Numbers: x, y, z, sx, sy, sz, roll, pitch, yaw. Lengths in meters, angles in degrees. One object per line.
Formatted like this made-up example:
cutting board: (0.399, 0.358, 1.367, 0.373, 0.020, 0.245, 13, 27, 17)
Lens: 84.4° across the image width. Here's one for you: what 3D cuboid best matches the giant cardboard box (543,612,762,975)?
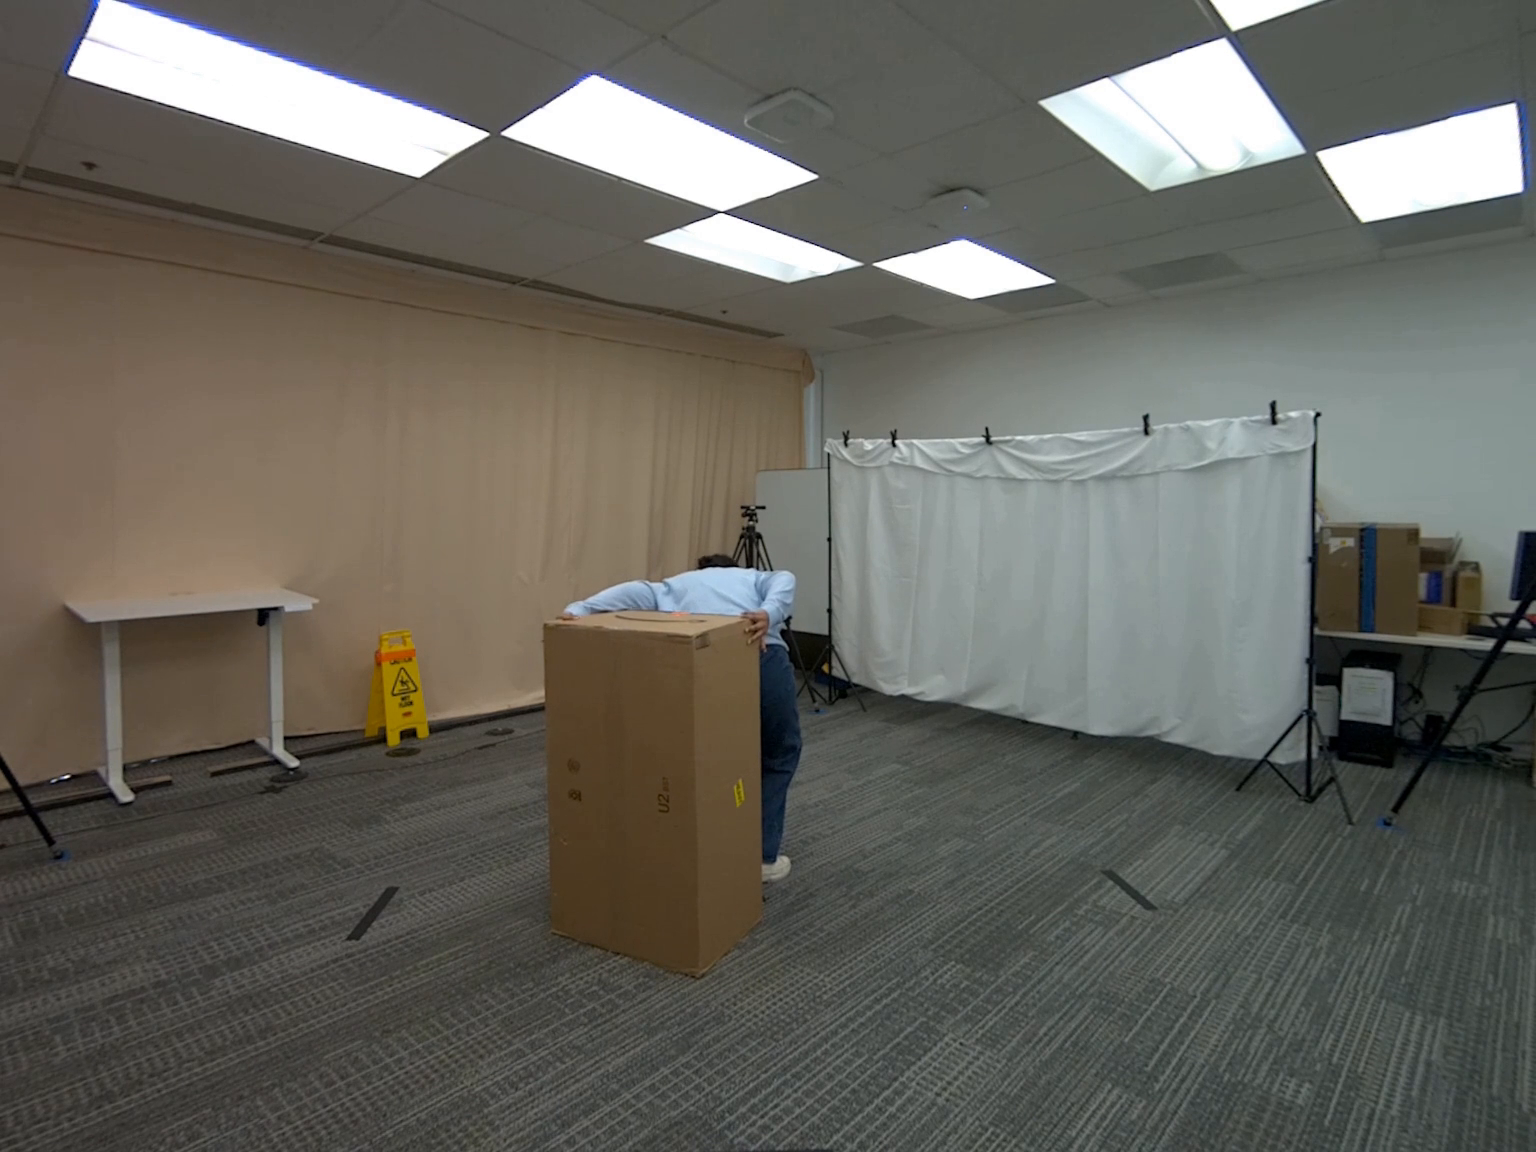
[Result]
giant cardboard box: (-0.378, 0.662, 2.774, 0.594, 1.024, 0.415, 0, 3, 29)
